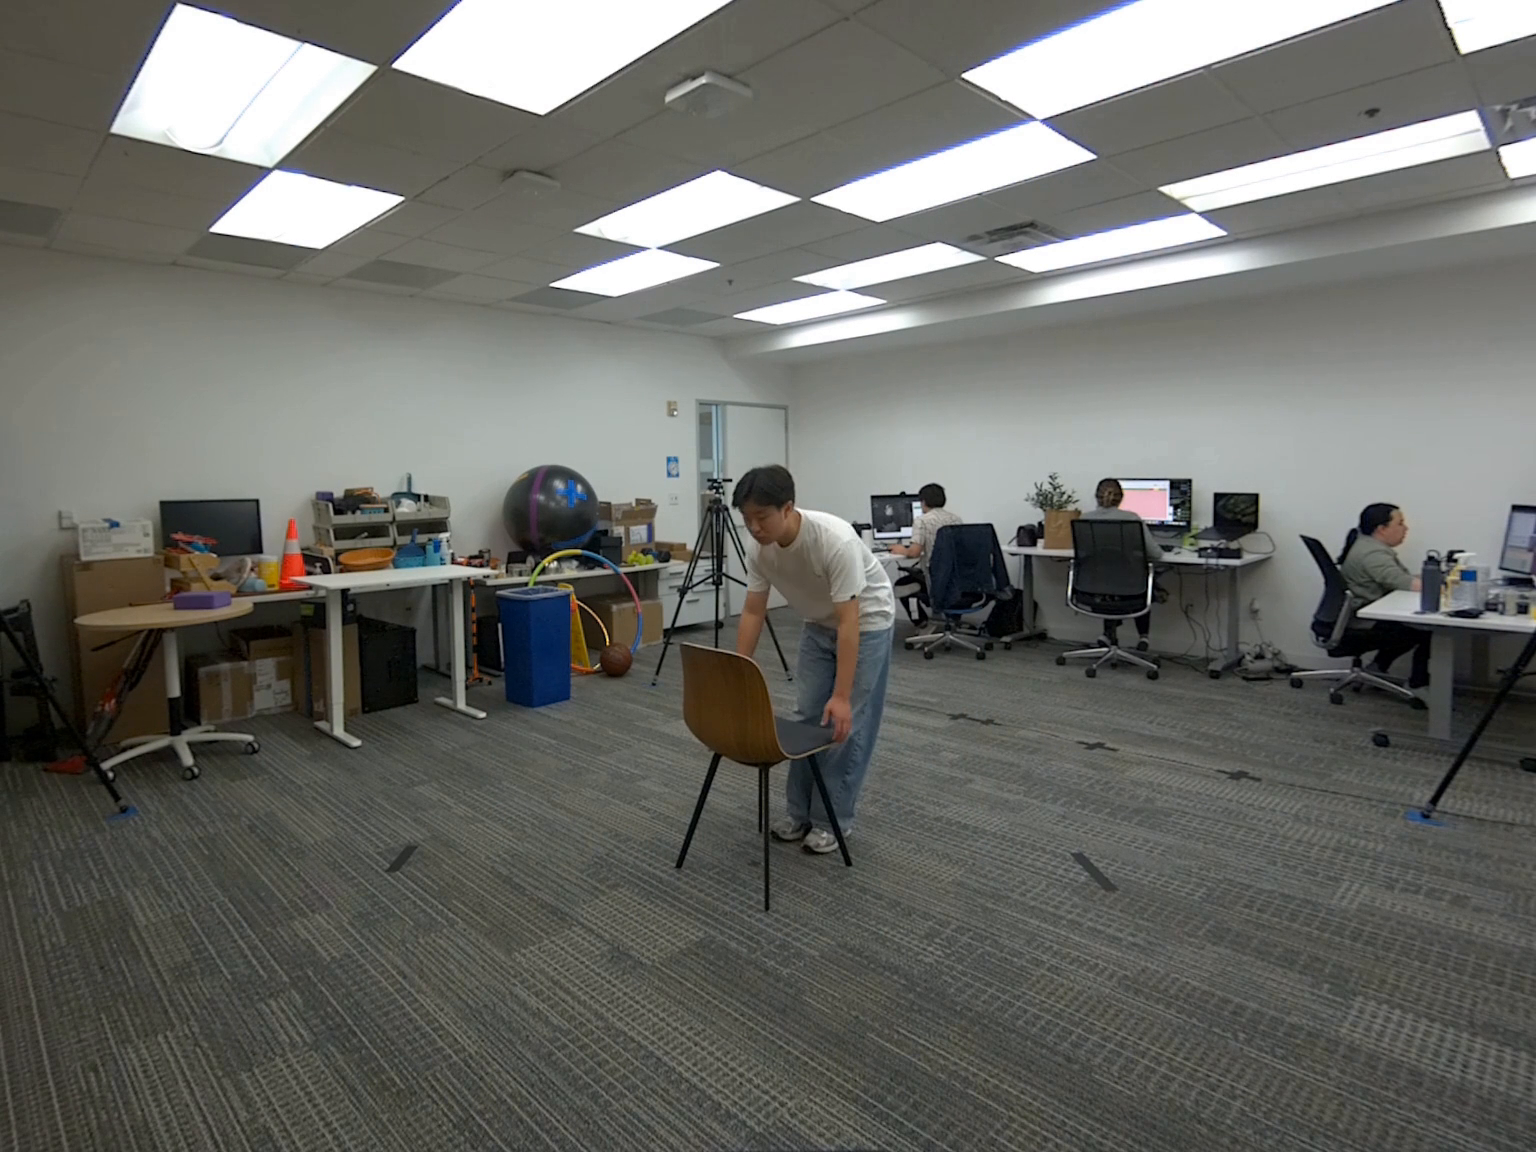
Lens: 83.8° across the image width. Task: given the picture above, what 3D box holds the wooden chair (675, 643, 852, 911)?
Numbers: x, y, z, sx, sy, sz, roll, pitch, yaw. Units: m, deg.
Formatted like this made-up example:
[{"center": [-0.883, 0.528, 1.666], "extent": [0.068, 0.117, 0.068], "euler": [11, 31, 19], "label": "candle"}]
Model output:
[{"center": [-0.015, 0.623, 3.044], "extent": [0.493, 0.871, 0.511], "euler": [3, 10, 44], "label": "wooden chair"}]
